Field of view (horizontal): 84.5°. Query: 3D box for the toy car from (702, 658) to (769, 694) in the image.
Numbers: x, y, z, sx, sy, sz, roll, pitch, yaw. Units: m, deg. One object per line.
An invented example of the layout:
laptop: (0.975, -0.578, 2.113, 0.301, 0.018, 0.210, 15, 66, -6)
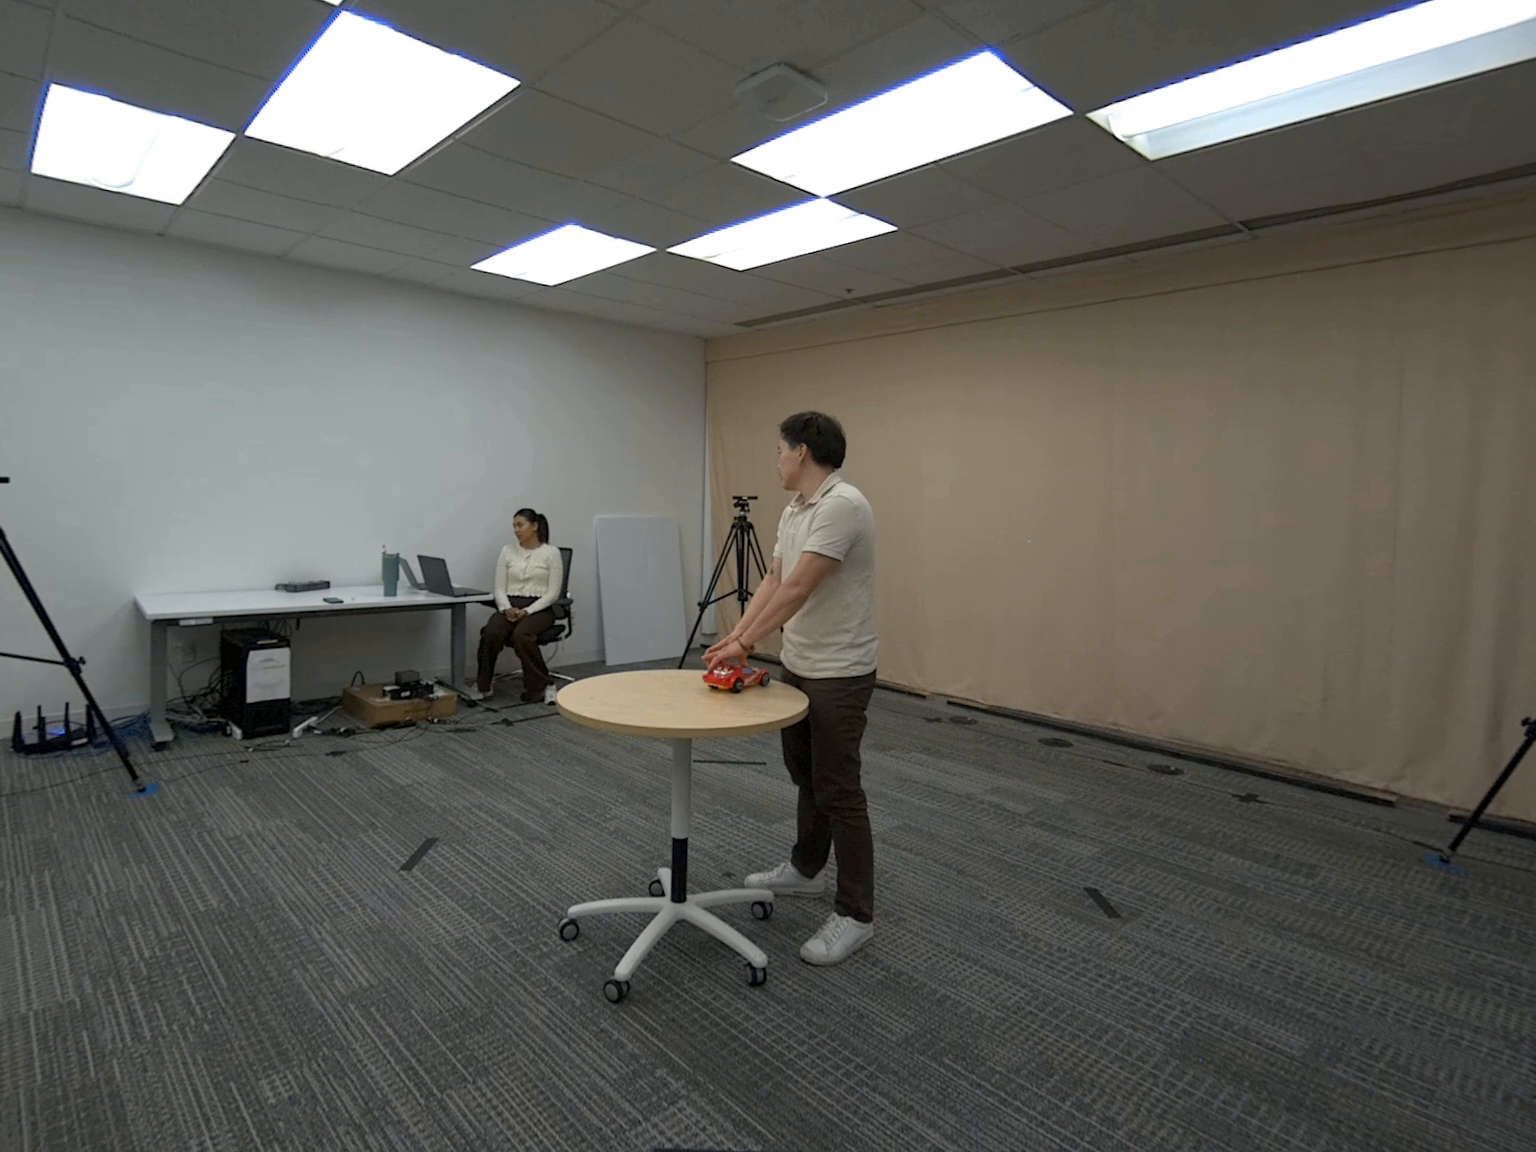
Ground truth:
toy car: (-0.105, 0.329, 2.688, 0.133, 0.083, 0.247, 7, -4, 37)
